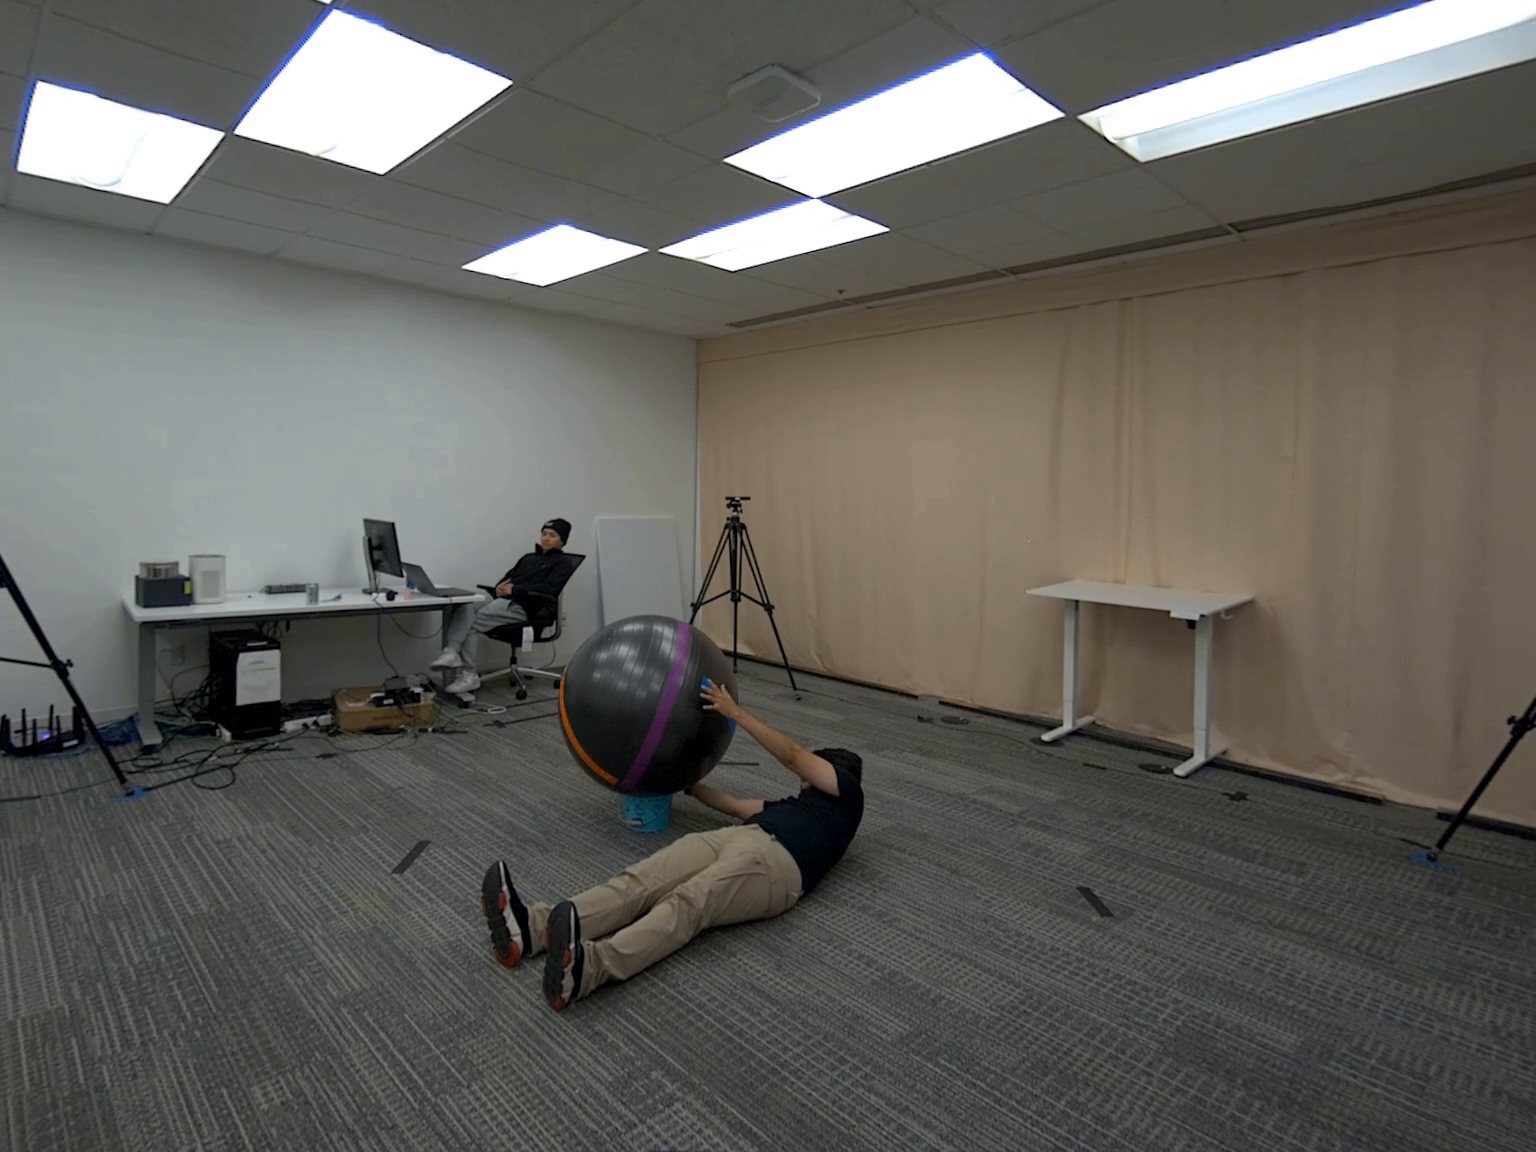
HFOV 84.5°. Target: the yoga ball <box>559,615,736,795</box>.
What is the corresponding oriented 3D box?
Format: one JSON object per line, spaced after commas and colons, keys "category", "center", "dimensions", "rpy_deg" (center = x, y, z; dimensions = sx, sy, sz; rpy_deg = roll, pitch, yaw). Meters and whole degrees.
{"category": "yoga ball", "center": [-0.509, 0.548, 3.569], "dimensions": [0.757, 0.755, 0.761], "rpy_deg": [1, 5, -1]}
